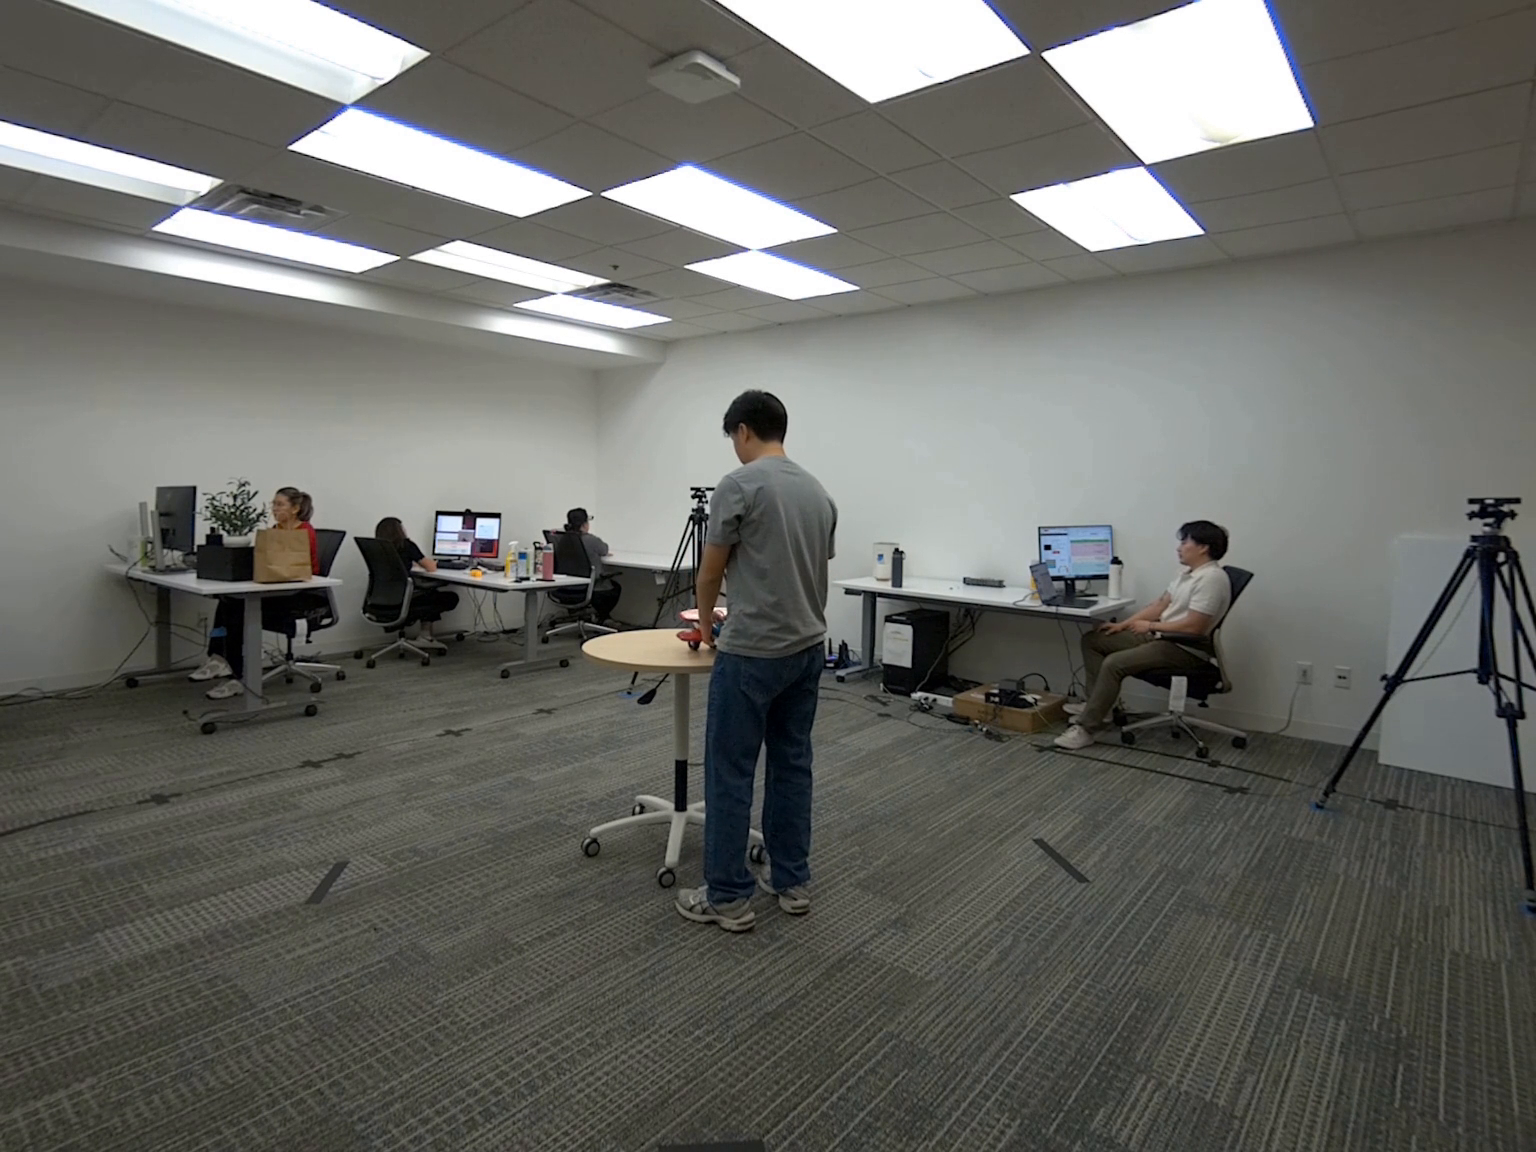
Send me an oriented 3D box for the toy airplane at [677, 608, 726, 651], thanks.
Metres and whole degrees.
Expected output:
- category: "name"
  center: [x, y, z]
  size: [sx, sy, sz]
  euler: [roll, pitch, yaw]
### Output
- category: "toy airplane"
  center: [-0.194, 0.200, 3.141]
  size: [0.267, 0.156, 0.244]
  euler: [2, 4, 32]
